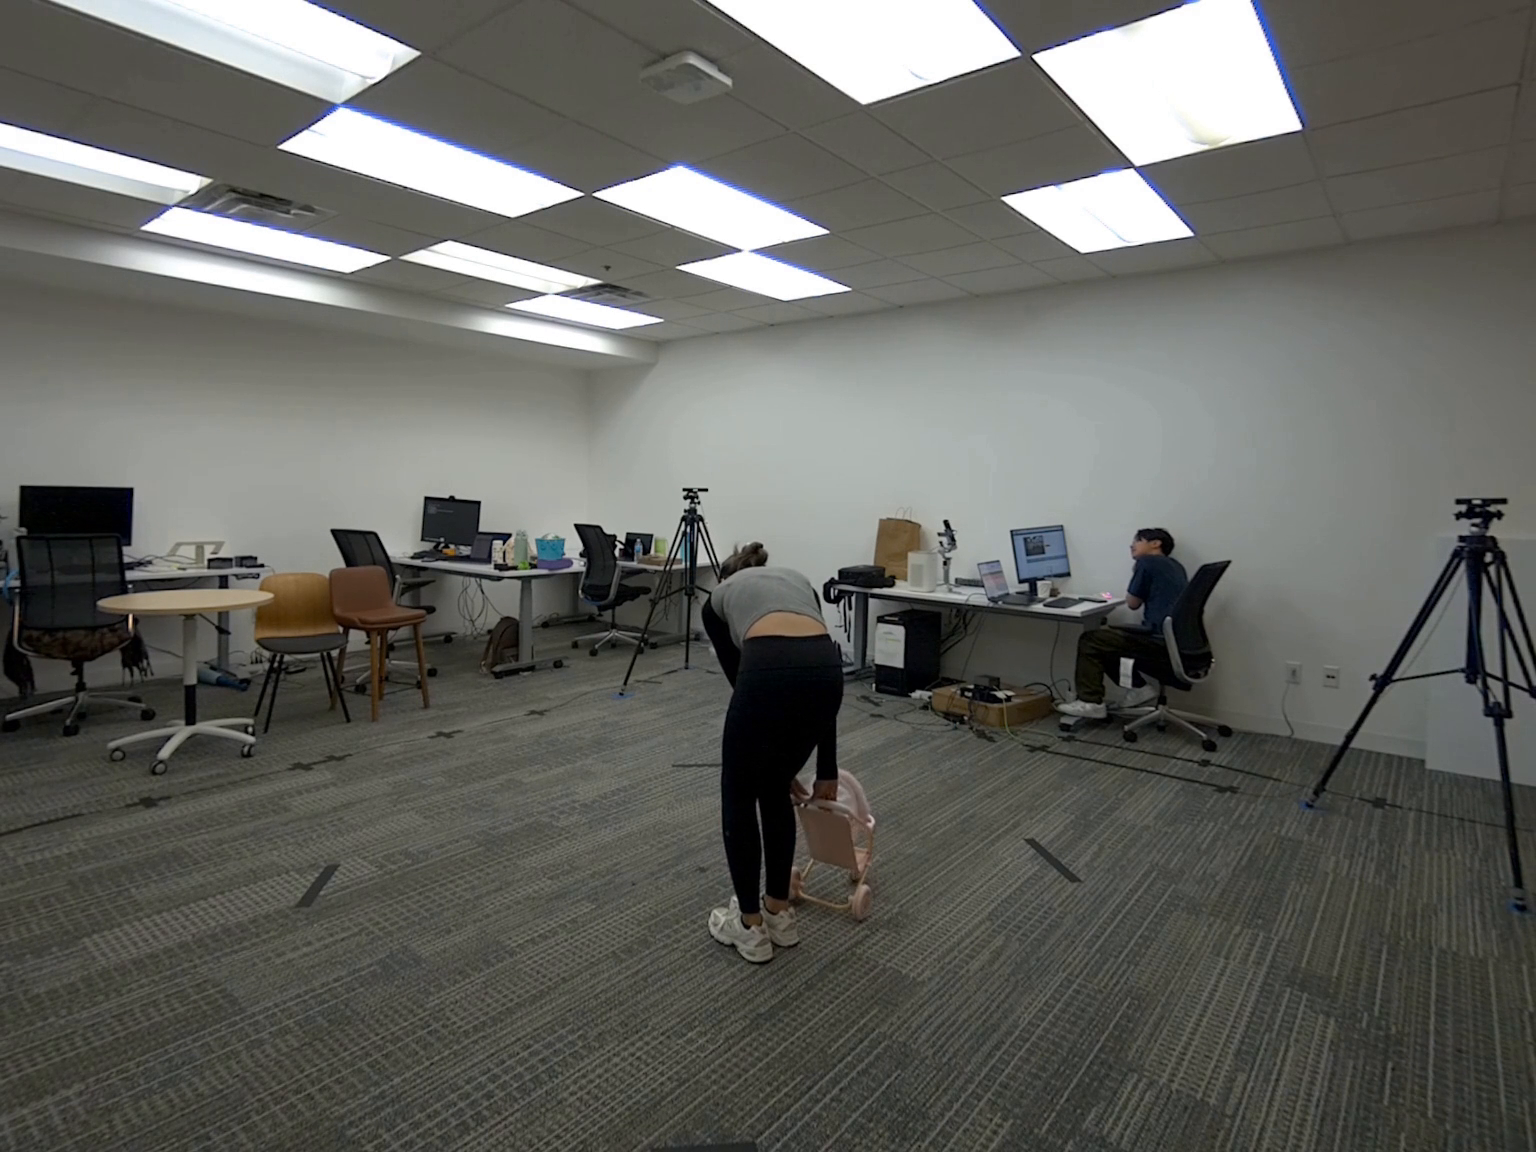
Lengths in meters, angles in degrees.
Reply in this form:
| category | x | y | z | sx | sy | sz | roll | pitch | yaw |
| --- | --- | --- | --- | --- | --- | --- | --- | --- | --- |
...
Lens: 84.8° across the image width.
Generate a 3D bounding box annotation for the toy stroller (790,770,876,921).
| category | x | y | z | sx | sy | sz | roll | pitch | yaw |
| --- | --- | --- | --- | --- | --- | --- | --- | --- | --- |
| toy stroller | 0.218 | 0.876 | 2.873 | 0.290 | 0.525 | 0.337 | 5 | 21 | 31 |
